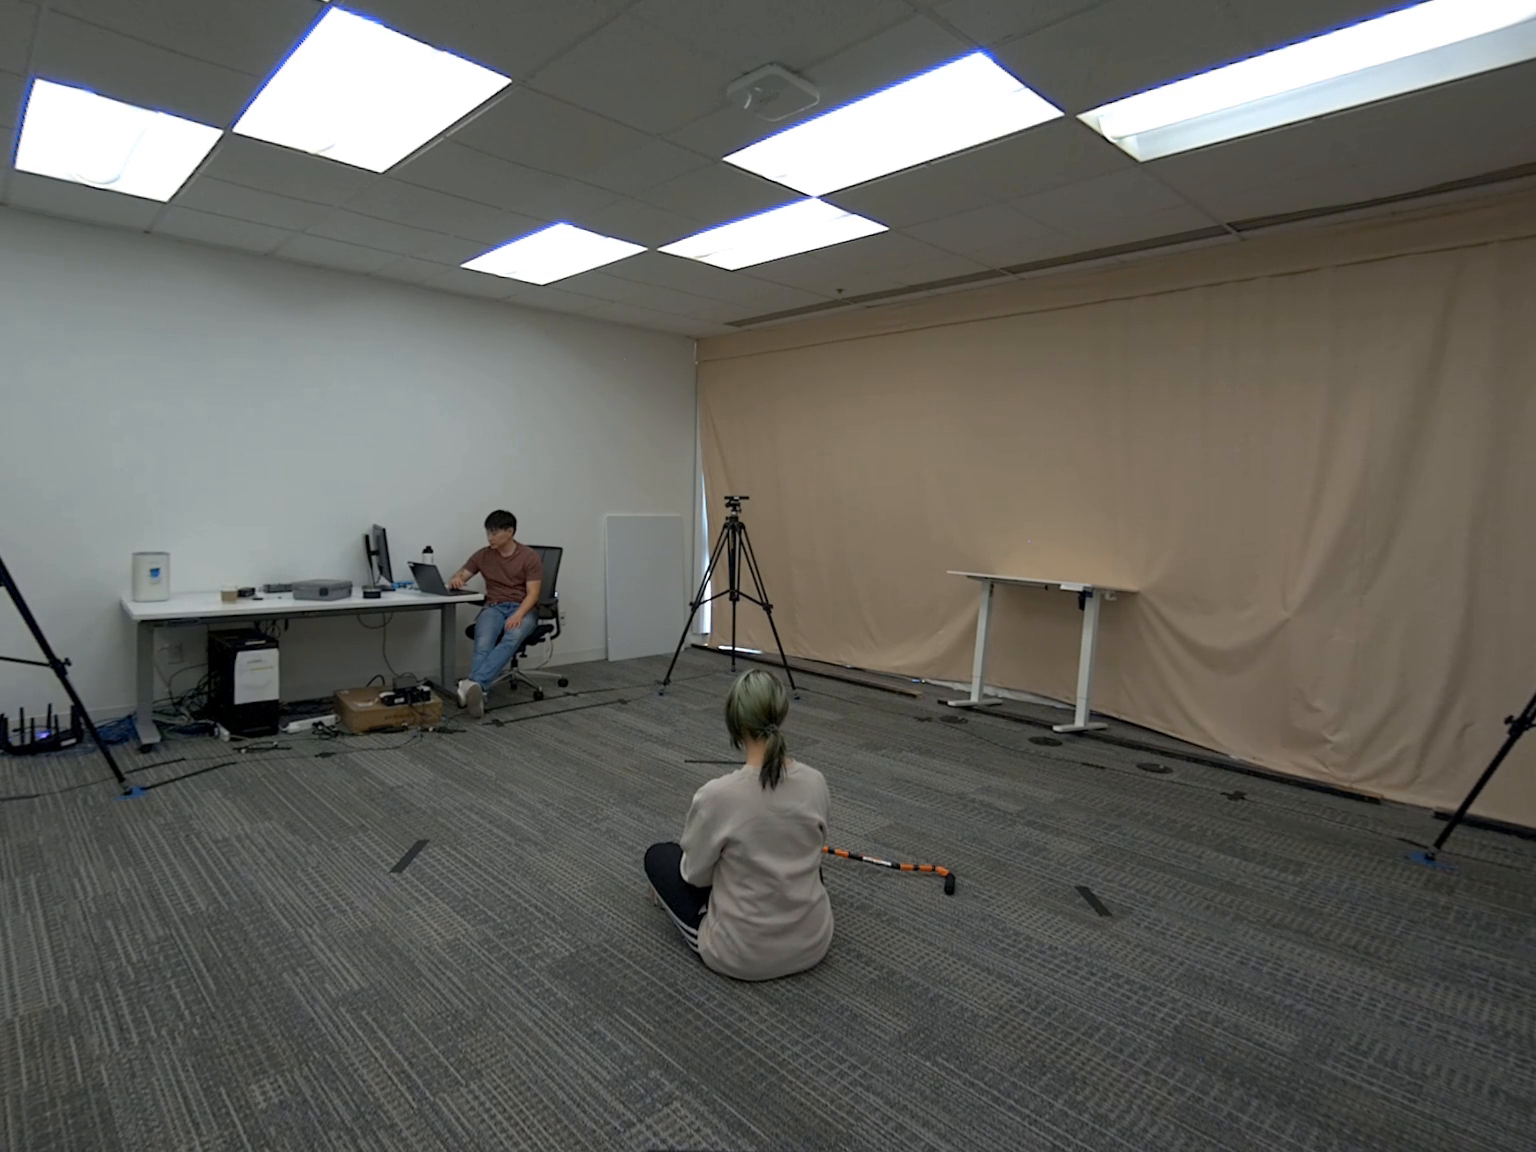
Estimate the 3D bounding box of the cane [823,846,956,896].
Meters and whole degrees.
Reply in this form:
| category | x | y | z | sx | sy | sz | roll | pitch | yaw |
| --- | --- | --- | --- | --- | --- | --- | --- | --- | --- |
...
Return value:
| category | x | y | z | sx | sy | sz | roll | pitch | yaw |
| --- | --- | --- | --- | --- | --- | --- | --- | --- | --- |
| cane | 0.237 | 1.056 | 3.209 | 0.922 | 0.151 | 0.204 | 7 | 4 | 17 |
